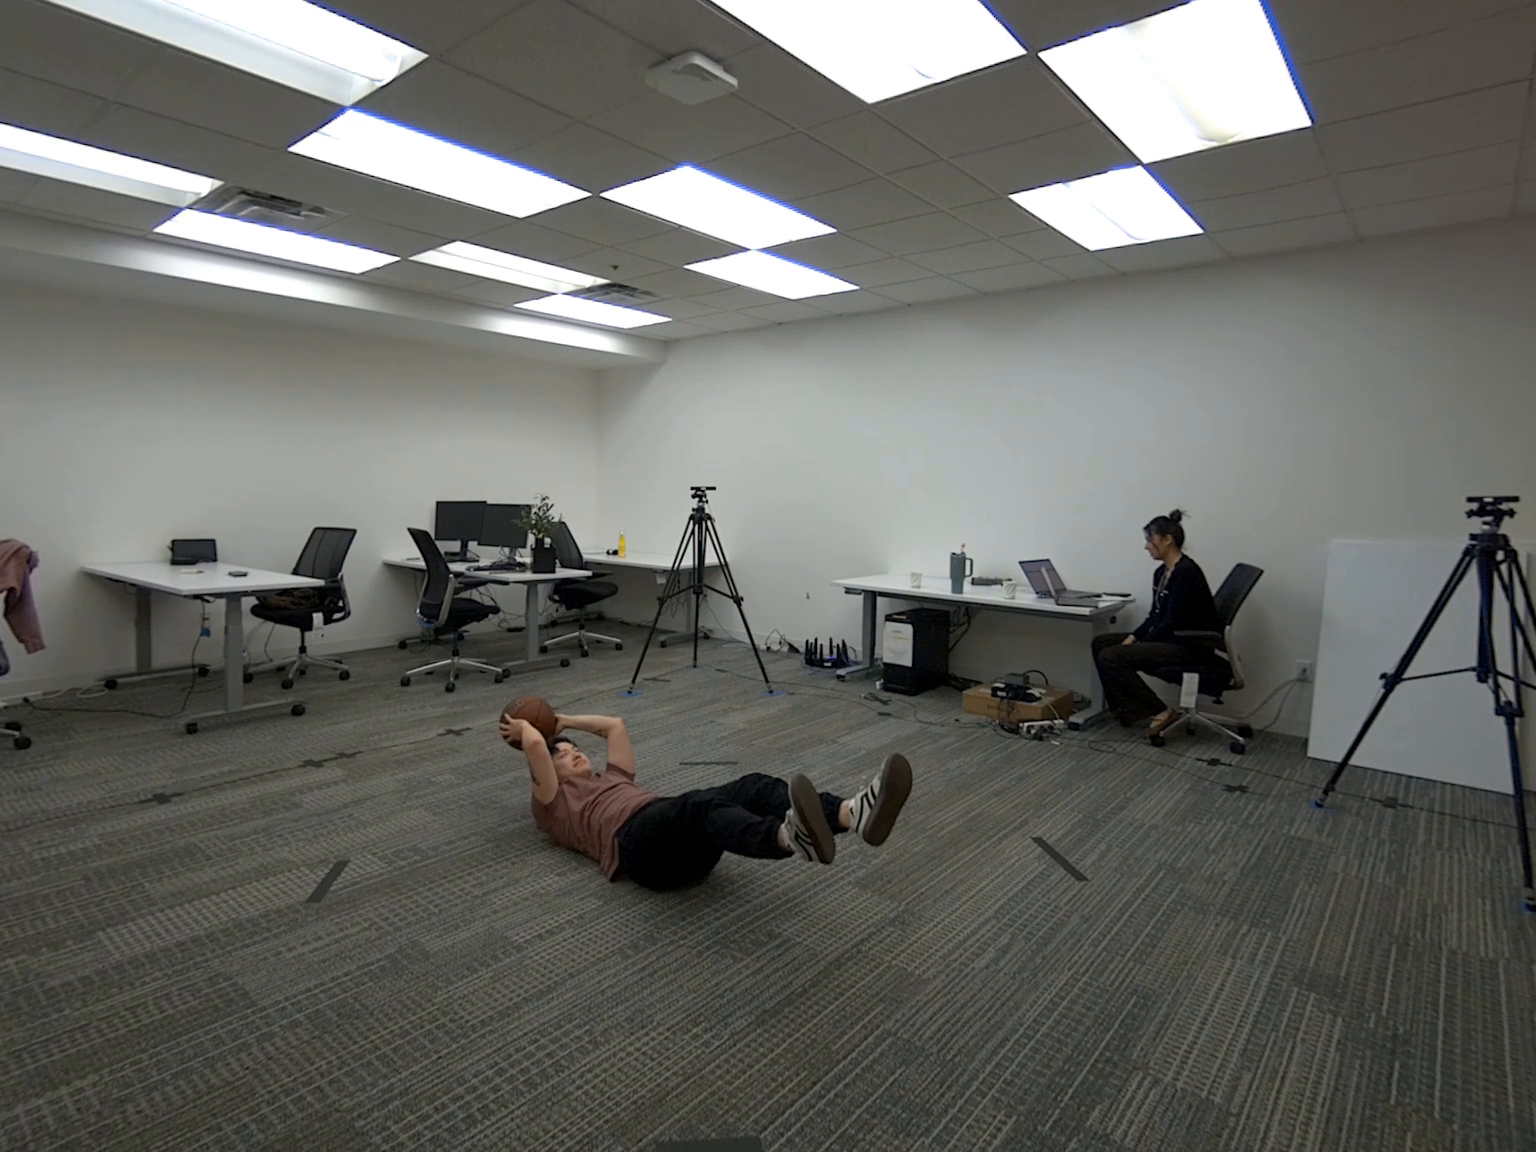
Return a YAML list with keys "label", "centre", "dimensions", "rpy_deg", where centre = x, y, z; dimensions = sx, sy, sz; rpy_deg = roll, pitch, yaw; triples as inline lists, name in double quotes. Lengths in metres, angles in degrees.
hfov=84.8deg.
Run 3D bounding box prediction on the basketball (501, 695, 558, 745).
- label: "basketball"
  centre: [-1.044, 0.629, 3.658]
  dimensions: [0.235, 0.235, 0.237]
  rpy_deg: [1, 5, -2]
